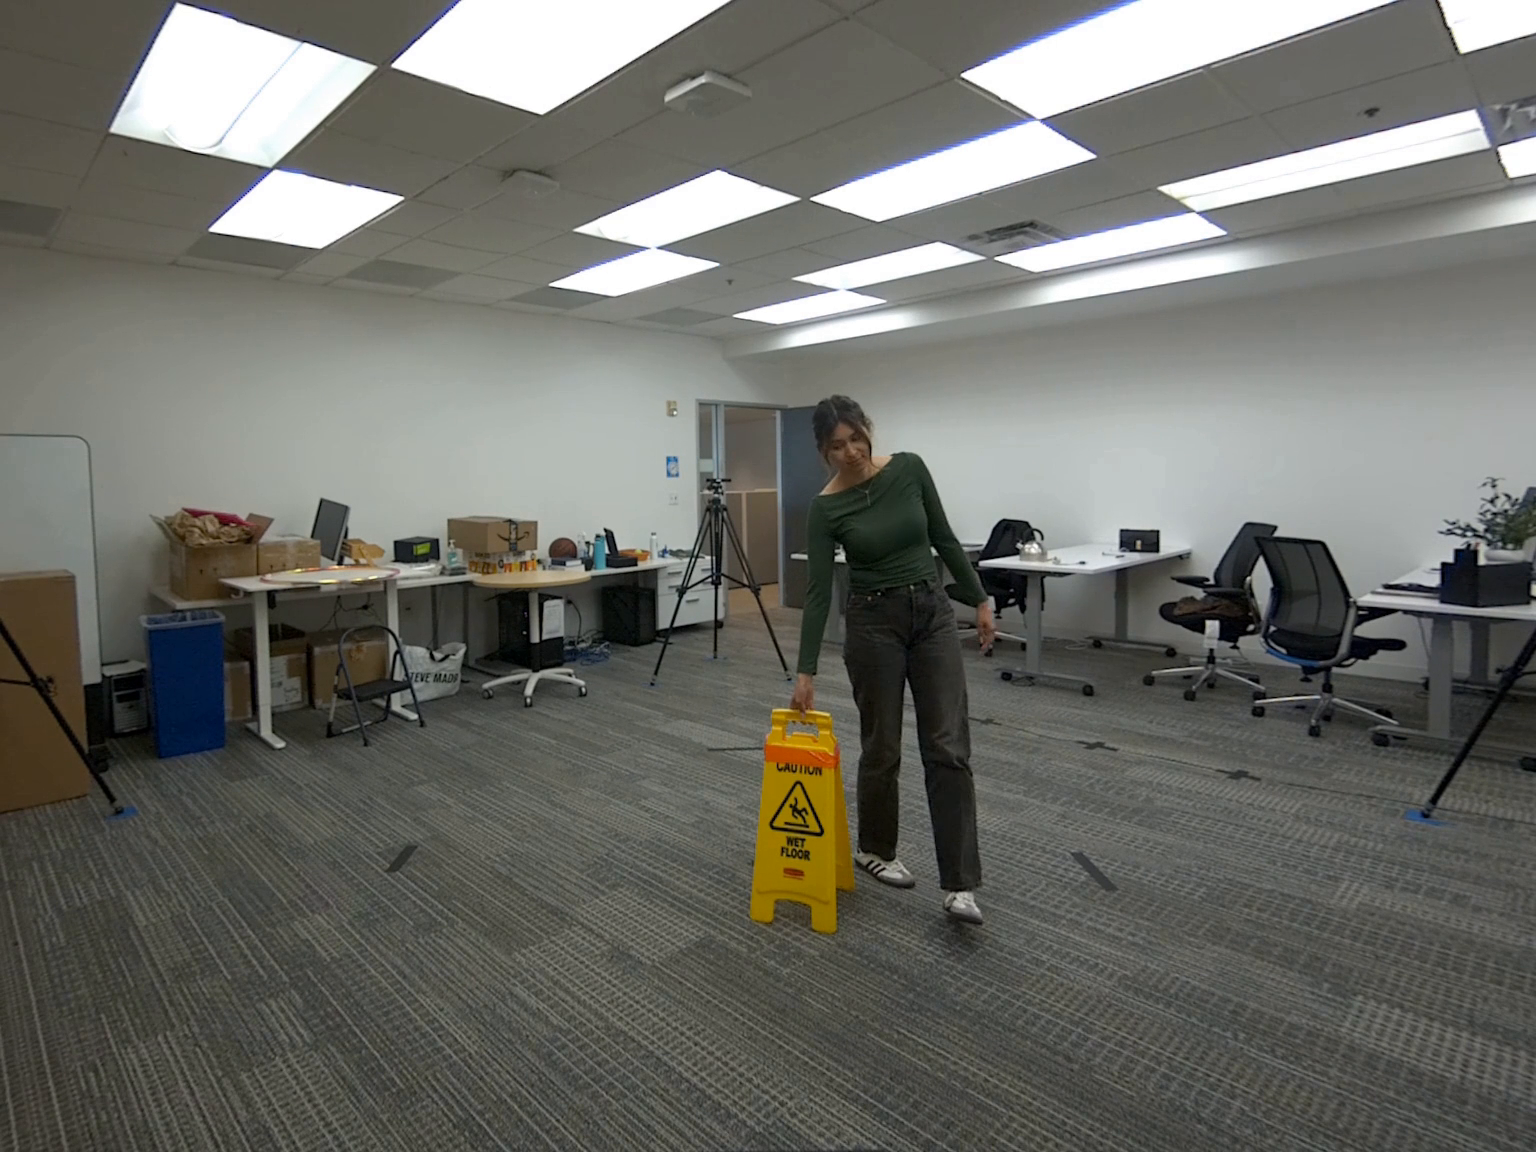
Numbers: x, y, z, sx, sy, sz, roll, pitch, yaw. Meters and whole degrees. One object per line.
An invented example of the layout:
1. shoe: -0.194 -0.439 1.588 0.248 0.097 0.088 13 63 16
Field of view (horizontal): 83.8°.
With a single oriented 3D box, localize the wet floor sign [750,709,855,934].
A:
1. wet floor sign: 0.121 0.755 2.780 0.287 0.644 0.285 2 4 18
